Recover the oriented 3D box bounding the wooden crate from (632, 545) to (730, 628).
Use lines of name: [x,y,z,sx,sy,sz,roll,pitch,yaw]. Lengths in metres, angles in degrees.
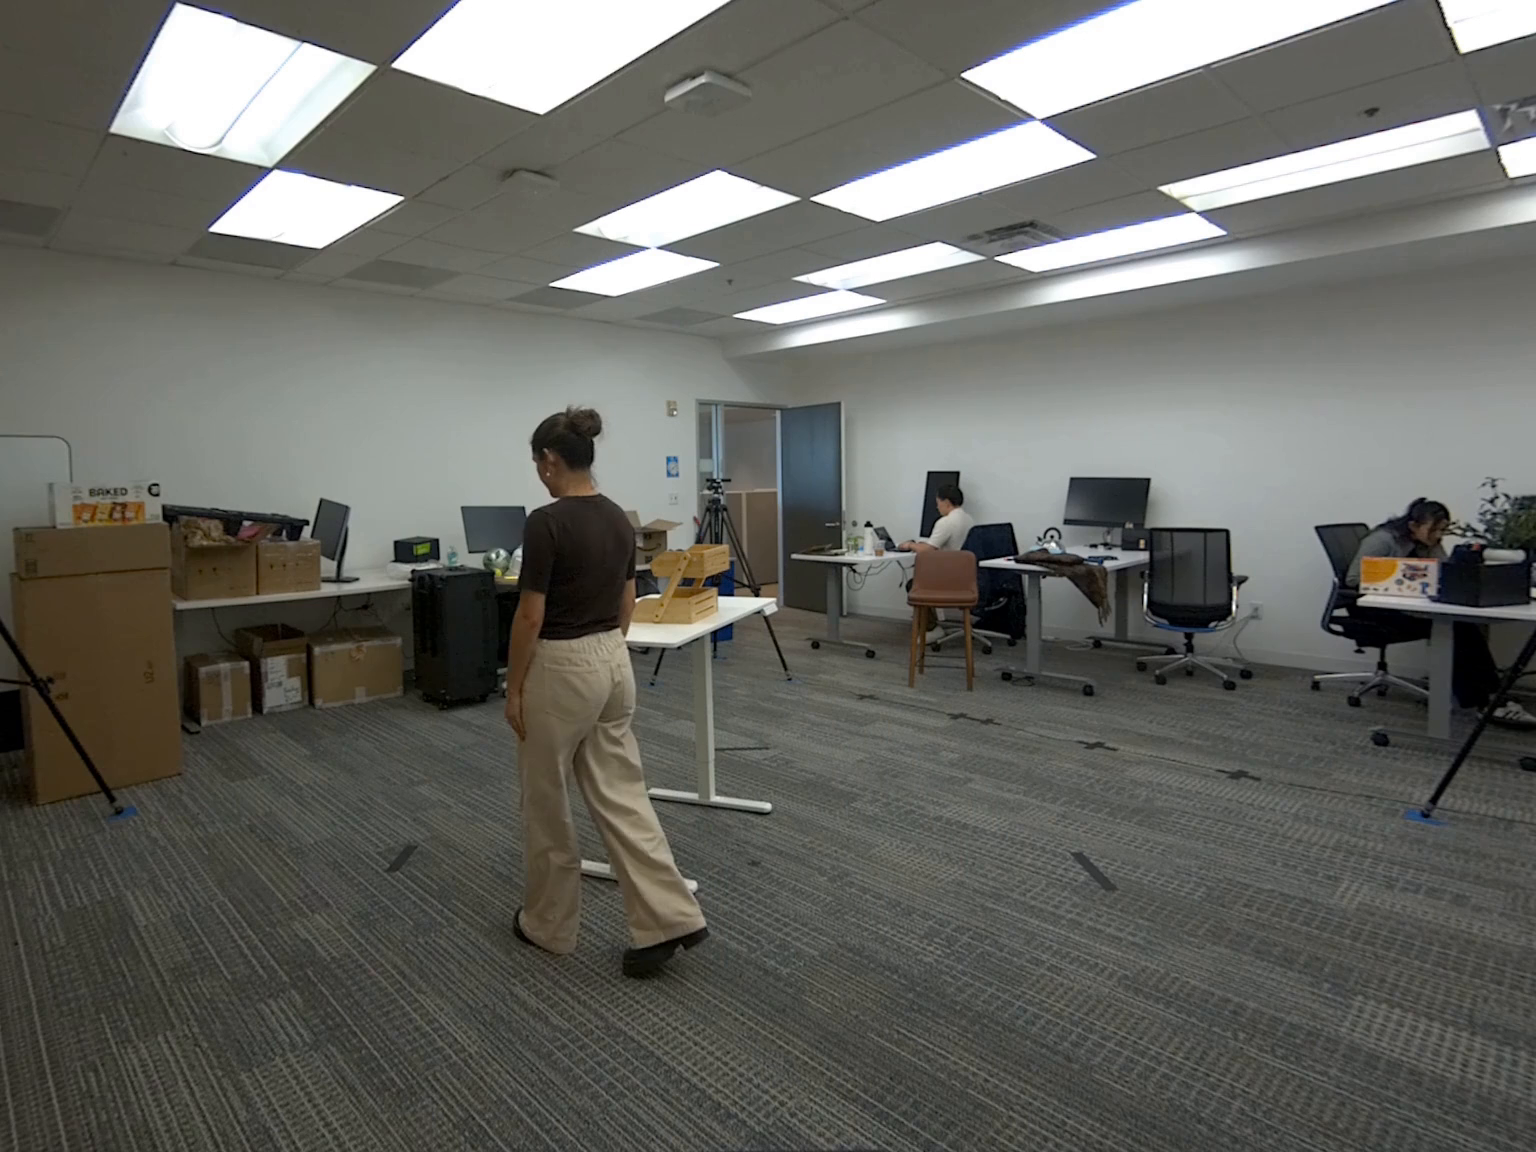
wooden crate: [-0.337,0.022,3.208,0.307,0.272,0.321,0,6,15]
